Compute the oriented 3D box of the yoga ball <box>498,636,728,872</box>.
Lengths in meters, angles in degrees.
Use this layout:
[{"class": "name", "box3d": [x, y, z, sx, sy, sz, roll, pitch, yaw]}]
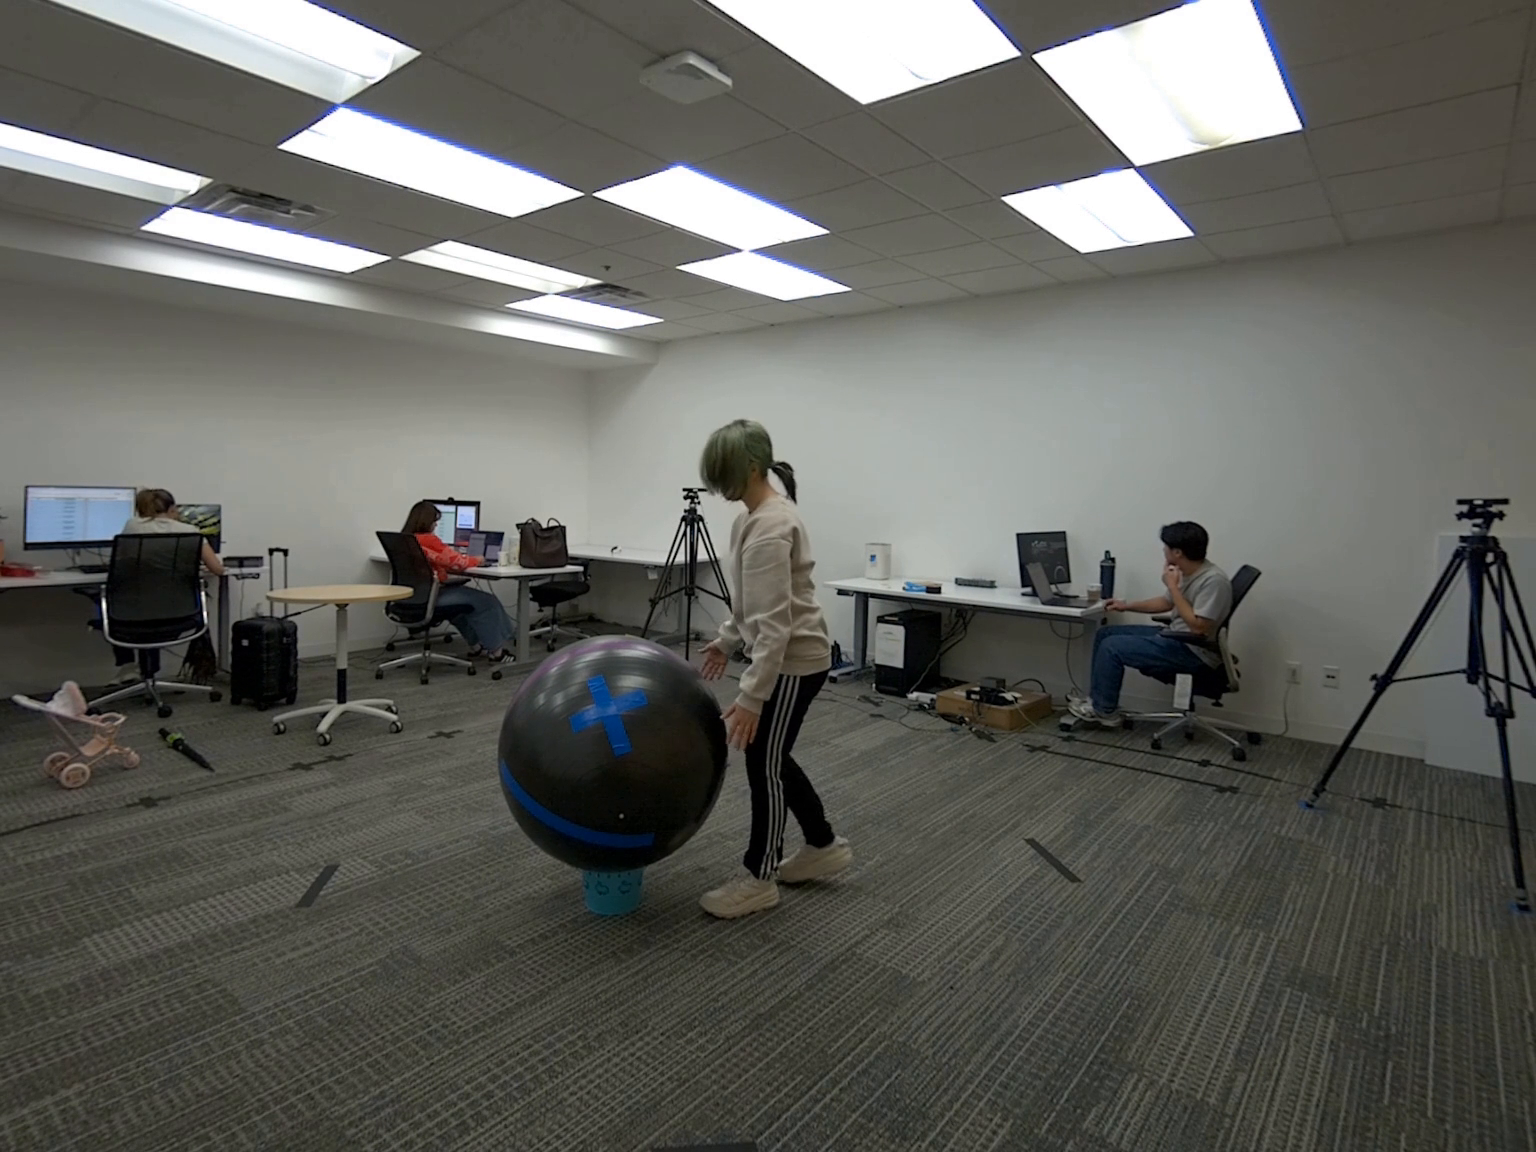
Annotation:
[{"class": "yoga ball", "box3d": [-0.530, 0.581, 2.831, 0.757, 0.756, 0.761, 1, 4, -2]}]
